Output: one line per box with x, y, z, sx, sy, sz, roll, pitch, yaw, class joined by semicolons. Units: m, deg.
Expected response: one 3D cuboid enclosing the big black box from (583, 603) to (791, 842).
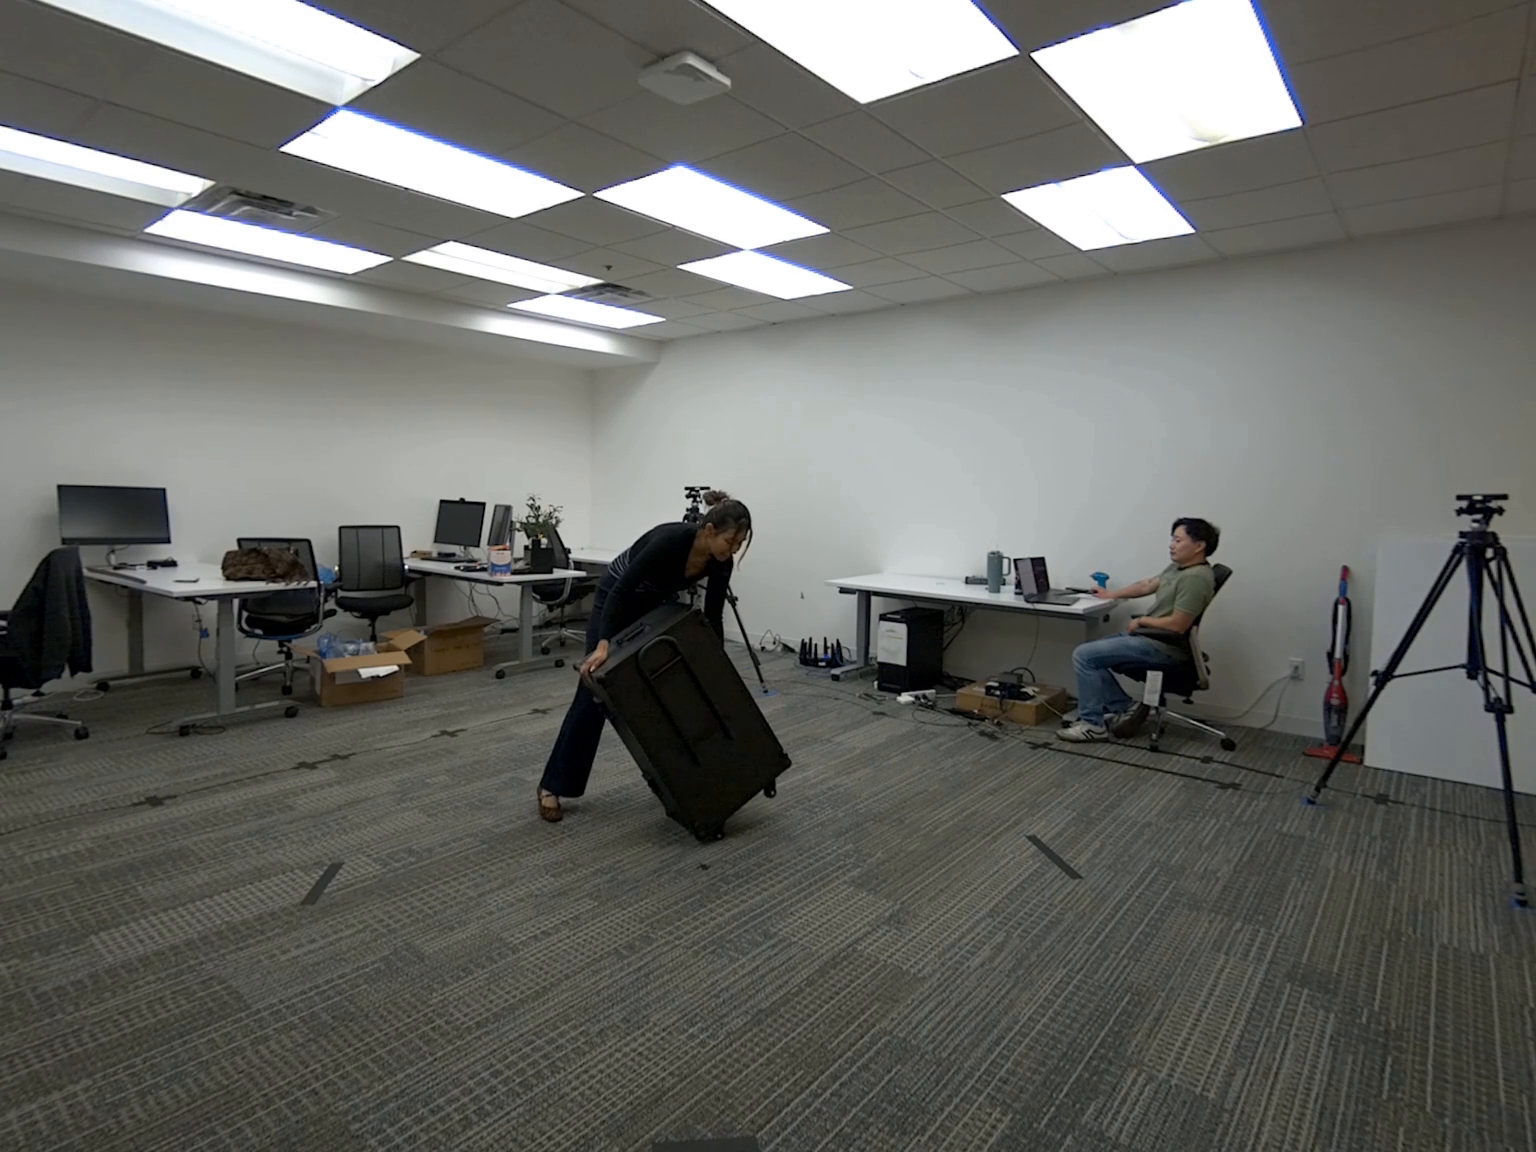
-0.329;0.593;3.446;0.518;0.846;0.406;-35;15;-21;big black box
